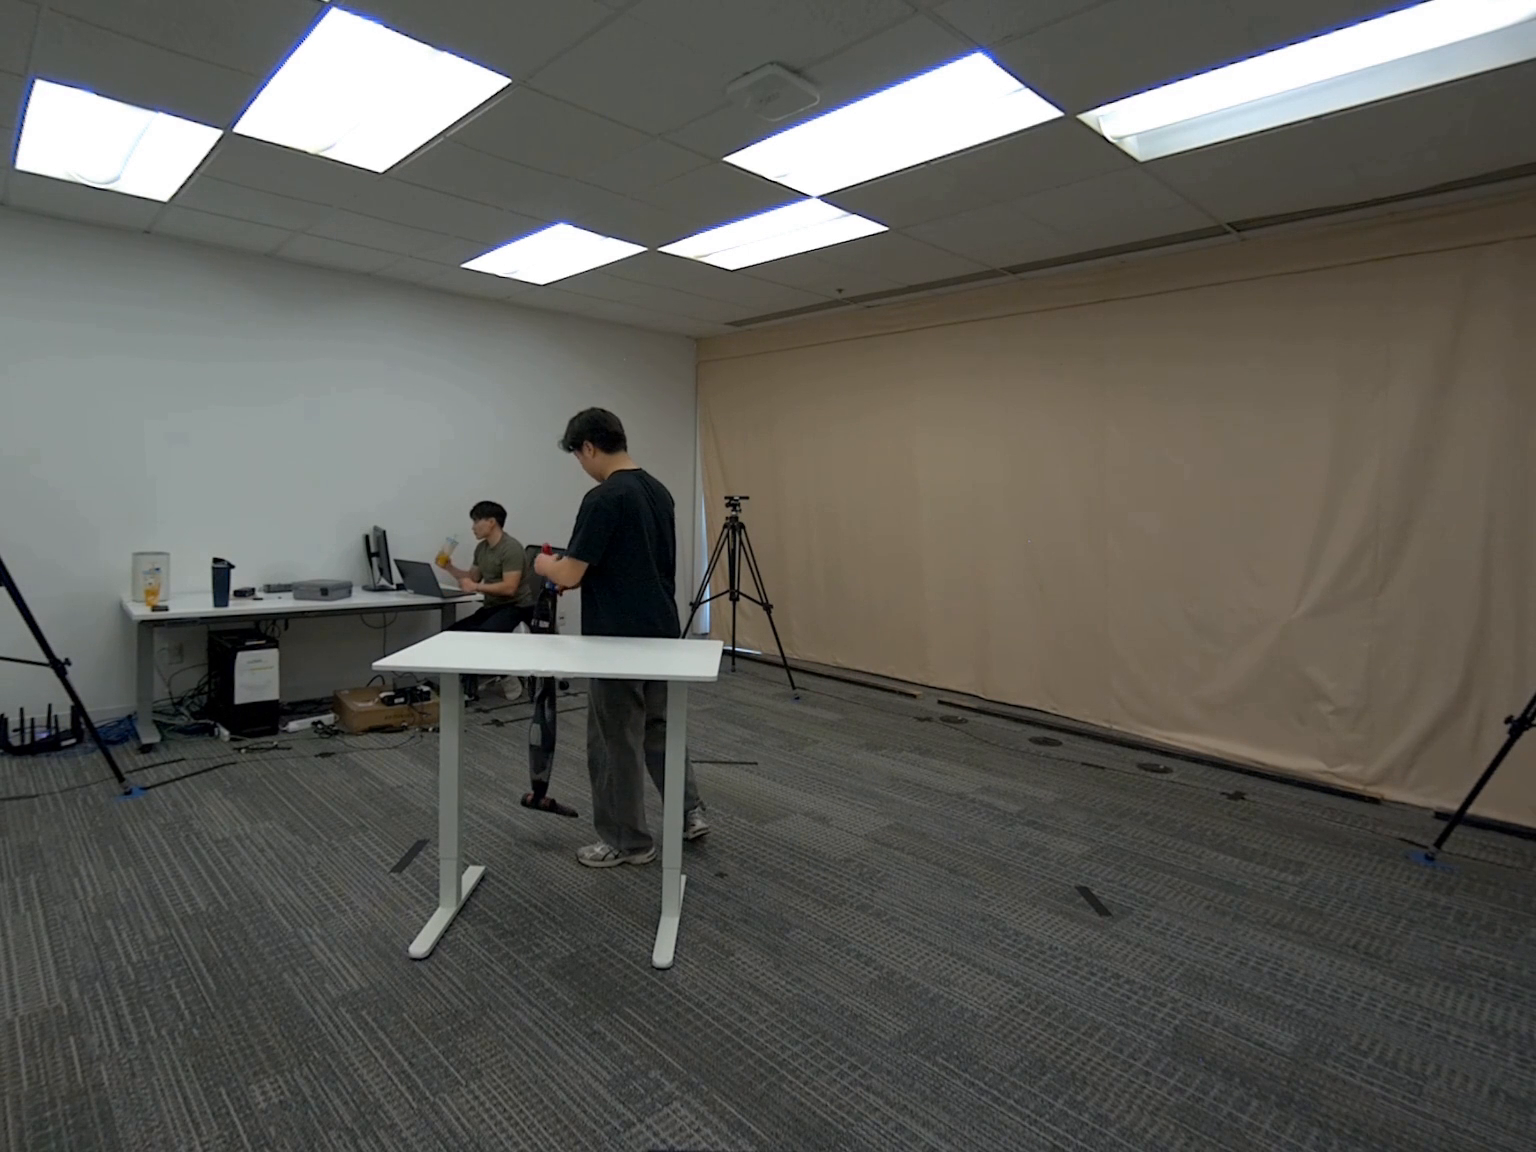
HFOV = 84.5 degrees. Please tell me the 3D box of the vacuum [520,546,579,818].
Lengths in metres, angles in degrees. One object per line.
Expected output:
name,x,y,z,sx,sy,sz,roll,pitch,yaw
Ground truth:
vacuum,-0.877,0.413,3.306,0.257,1.045,0.142,3,5,22
